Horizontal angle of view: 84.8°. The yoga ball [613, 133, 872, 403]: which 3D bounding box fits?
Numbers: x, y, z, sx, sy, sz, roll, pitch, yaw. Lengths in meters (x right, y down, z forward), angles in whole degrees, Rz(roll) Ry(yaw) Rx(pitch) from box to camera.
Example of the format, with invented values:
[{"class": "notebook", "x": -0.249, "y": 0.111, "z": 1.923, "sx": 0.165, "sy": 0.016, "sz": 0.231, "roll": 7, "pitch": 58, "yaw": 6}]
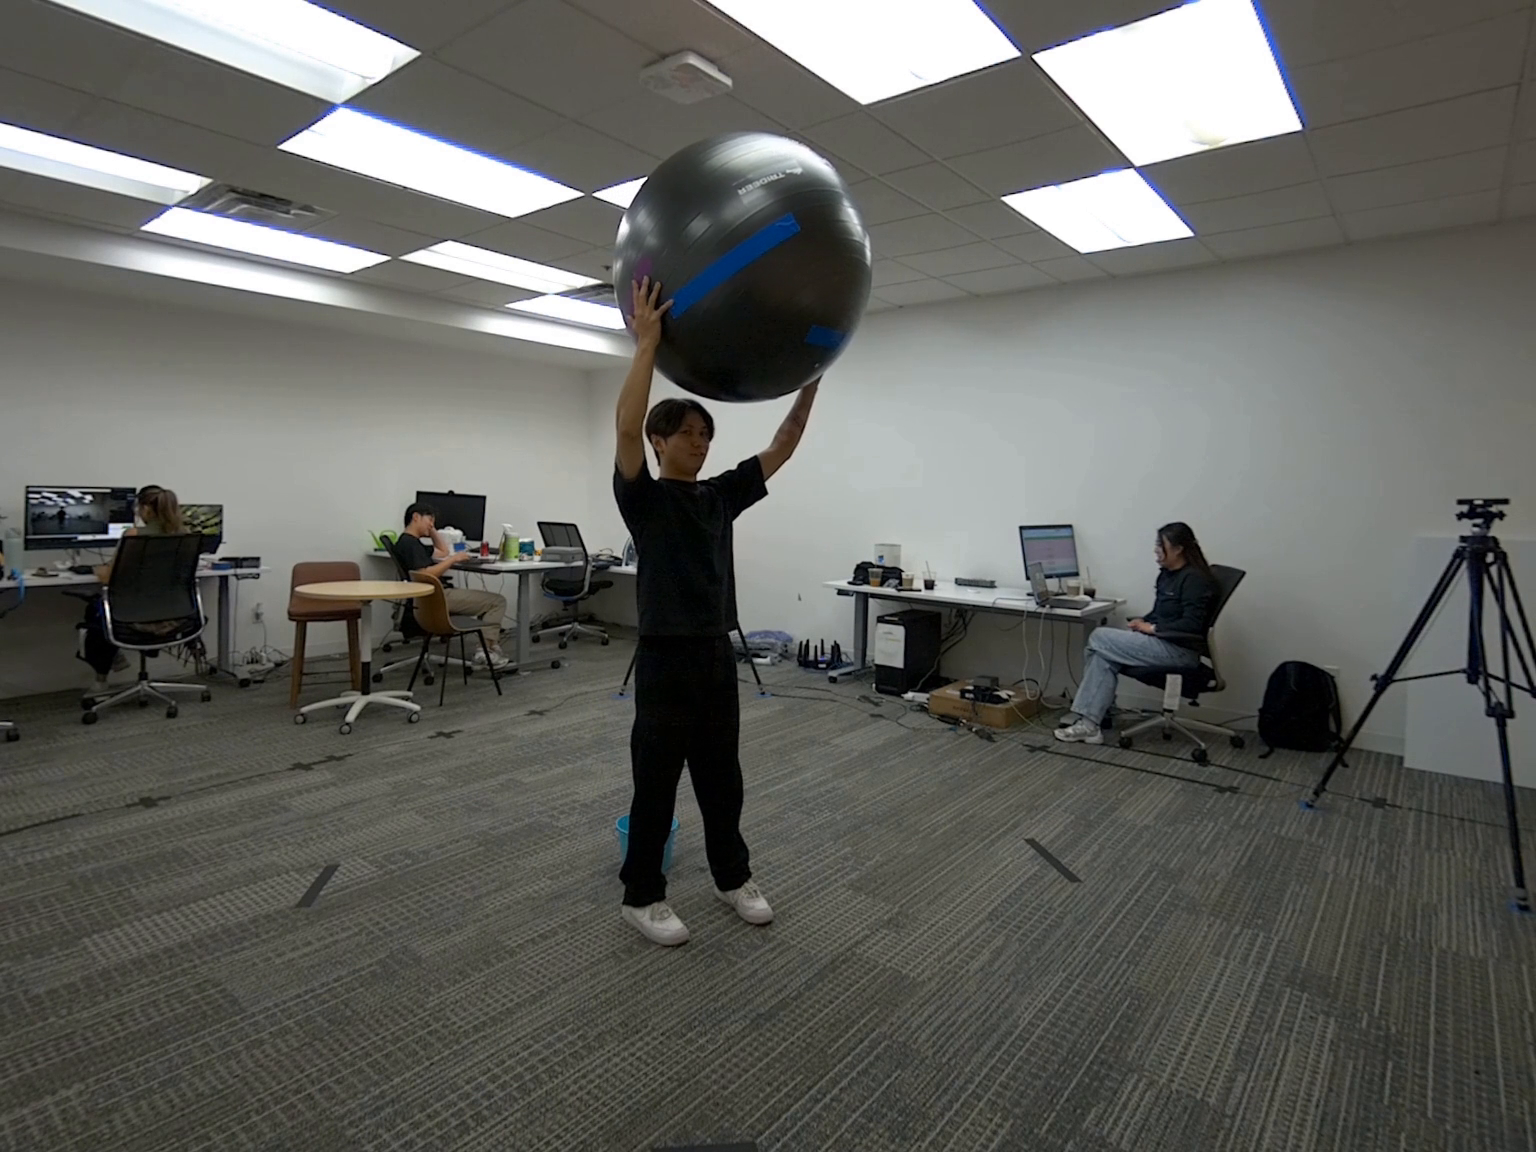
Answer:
[{"class": "yoga ball", "x": -0.085, "y": -0.895, "z": 2.508, "sx": 0.757, "sy": 0.755, "sz": 0.762, "roll": 1, "pitch": 4, "yaw": -2}]
